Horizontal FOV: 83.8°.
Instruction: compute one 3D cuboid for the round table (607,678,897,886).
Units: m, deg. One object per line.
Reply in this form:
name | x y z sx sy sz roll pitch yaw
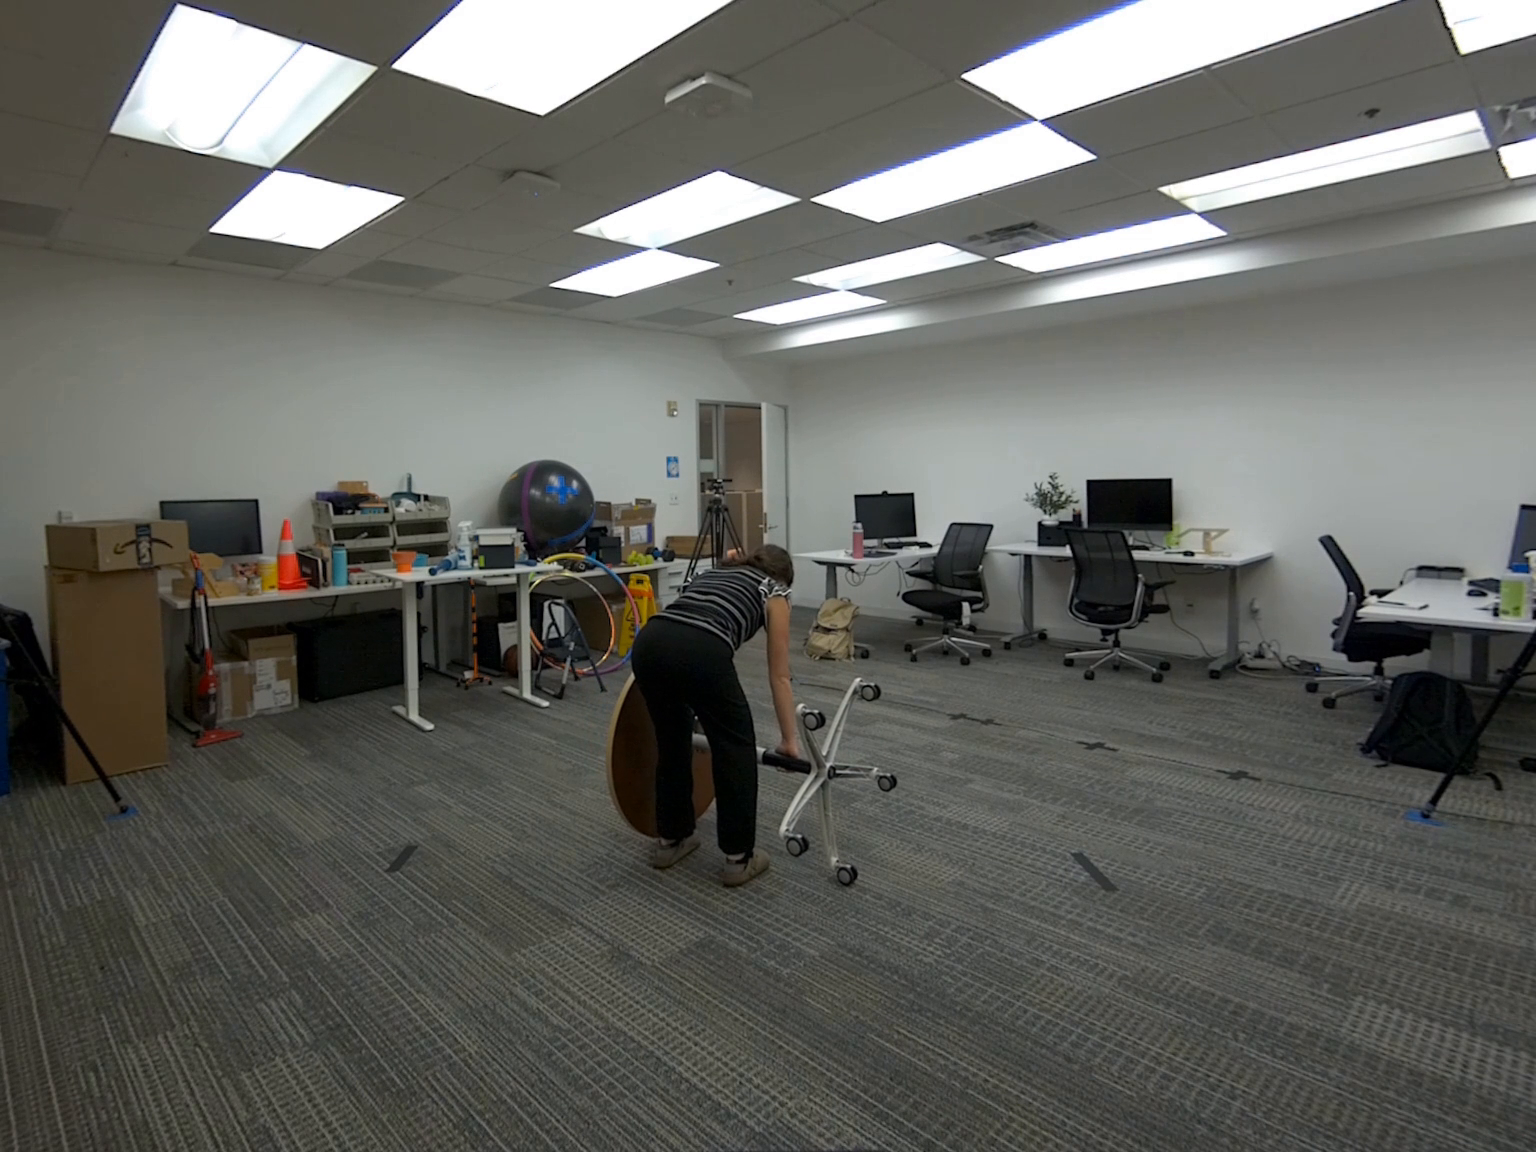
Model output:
round table | -0.039 0.668 3.137 0.818 0.760 0.745 5 7 36
